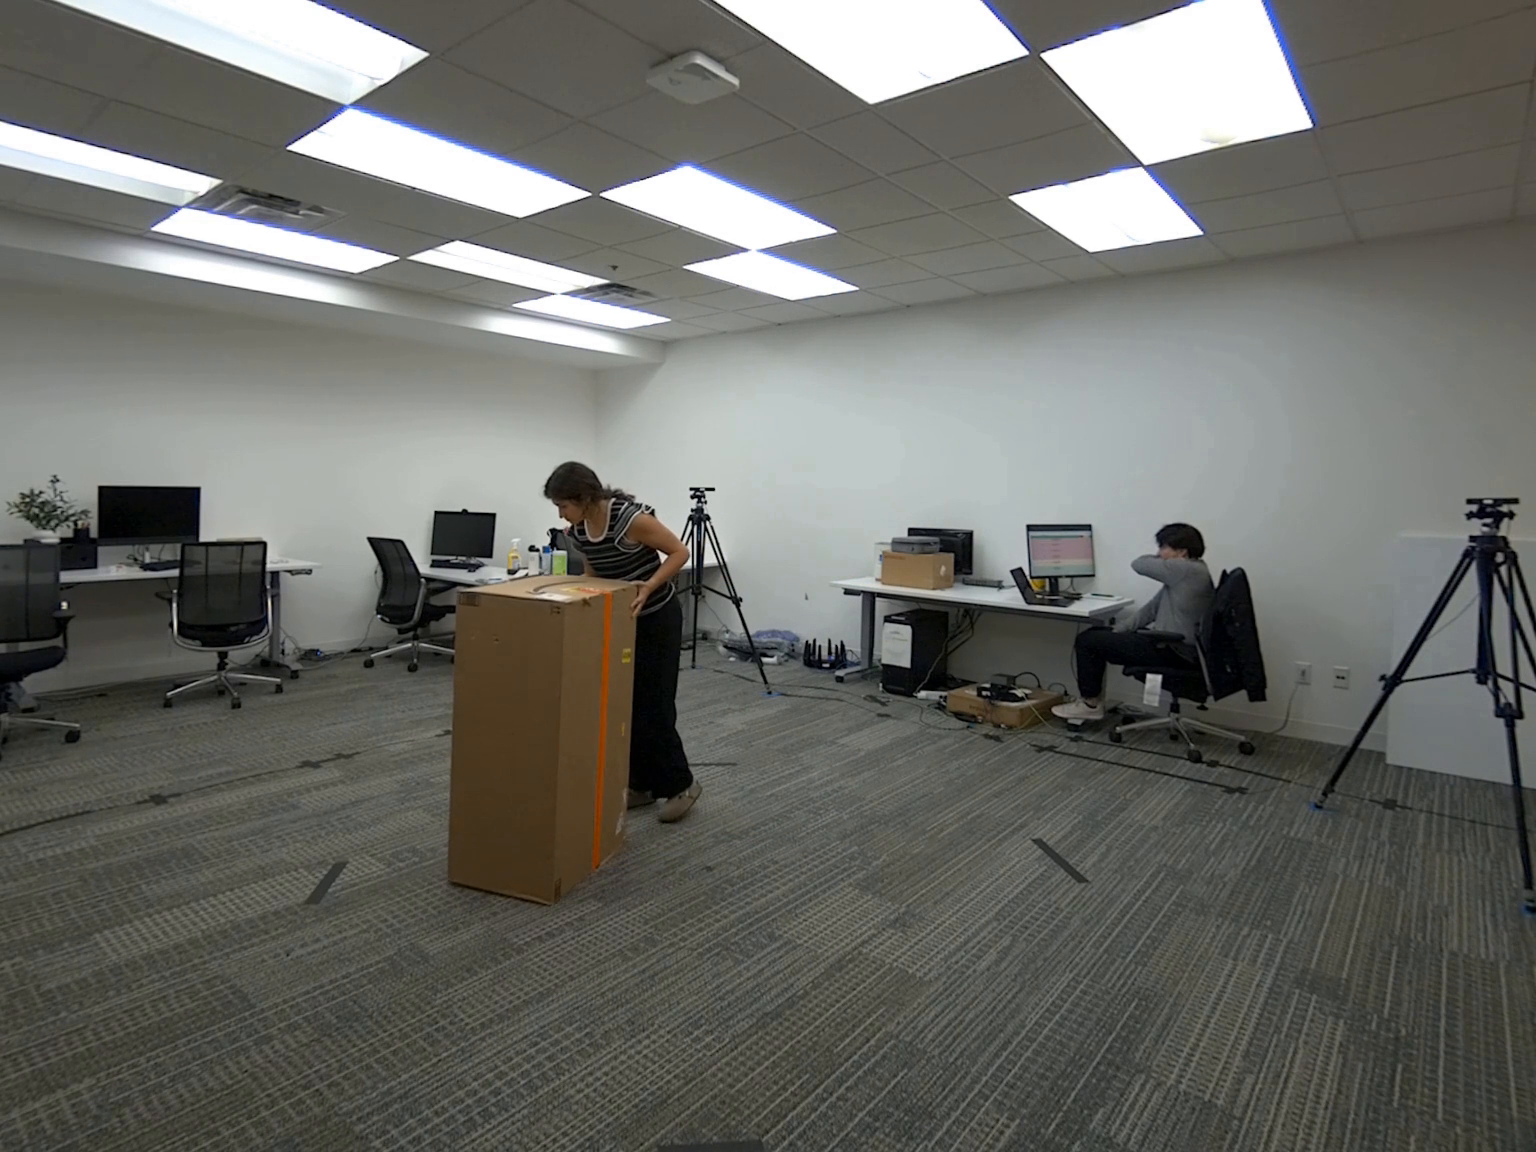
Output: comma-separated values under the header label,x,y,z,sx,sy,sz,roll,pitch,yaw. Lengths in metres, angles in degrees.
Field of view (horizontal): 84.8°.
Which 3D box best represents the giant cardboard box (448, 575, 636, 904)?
label,x,y,z,sx,sy,sz,roll,pitch,yaw
giant cardboard box,-0.822,0.545,3.111,0.435,1.022,0.568,4,5,18
